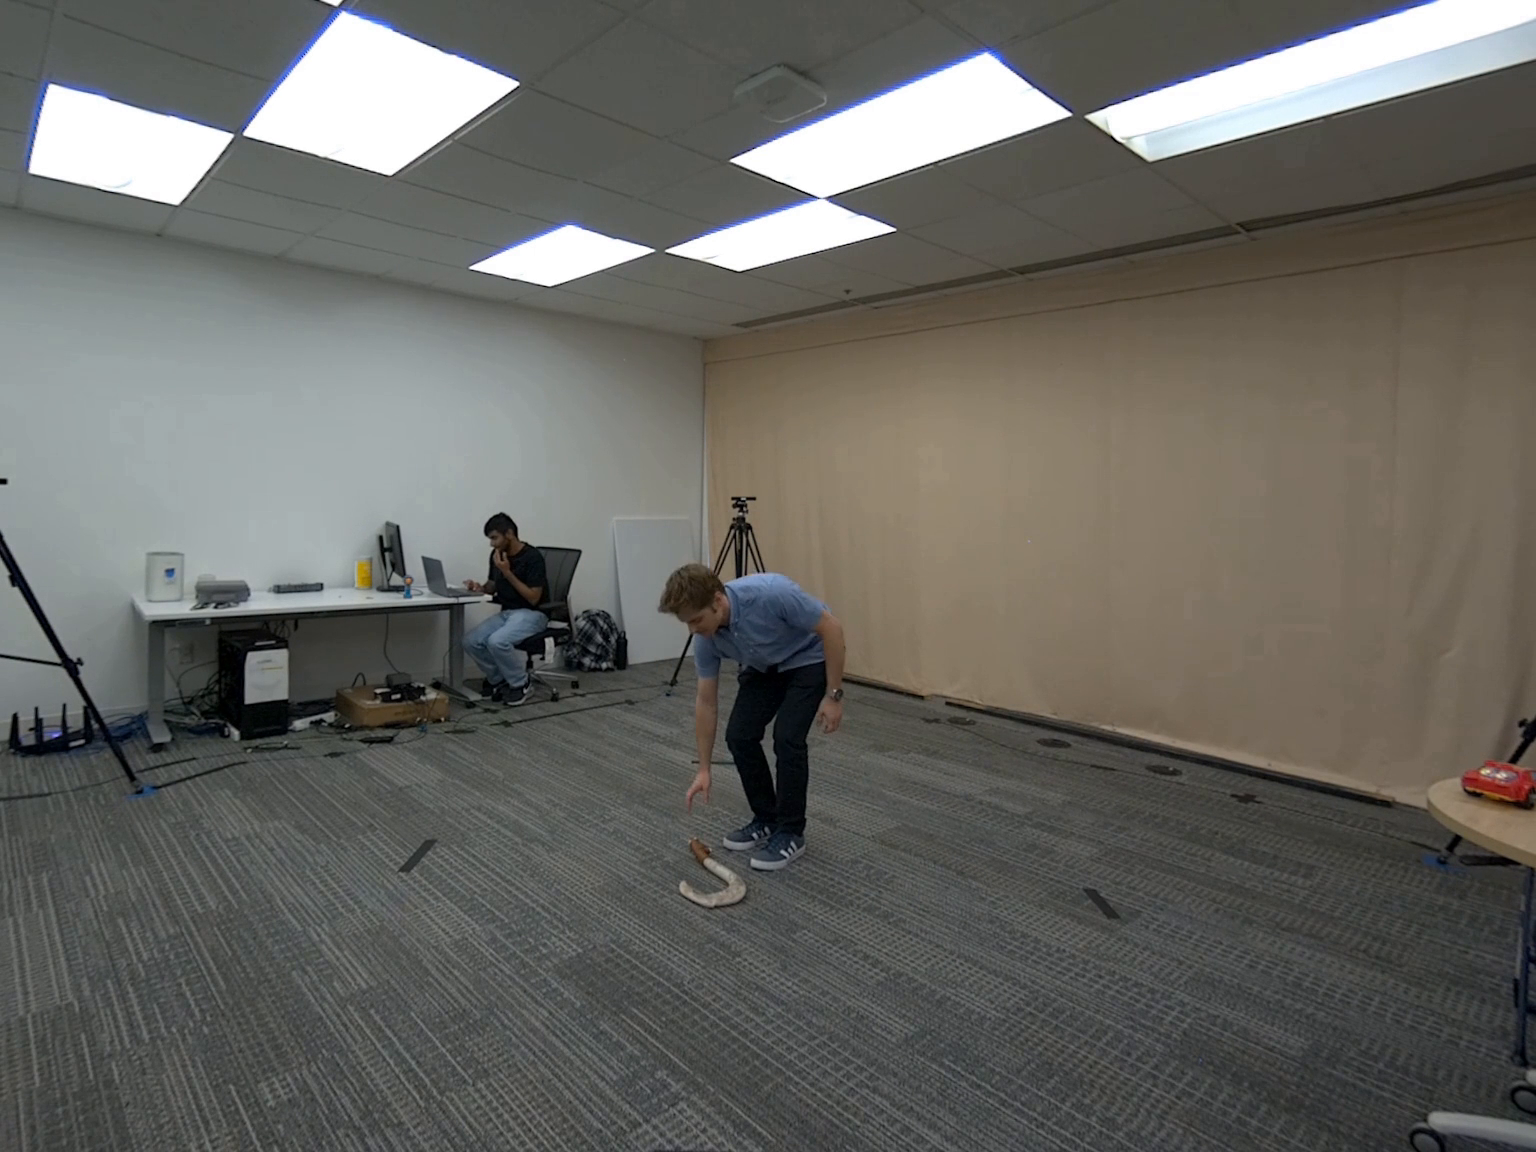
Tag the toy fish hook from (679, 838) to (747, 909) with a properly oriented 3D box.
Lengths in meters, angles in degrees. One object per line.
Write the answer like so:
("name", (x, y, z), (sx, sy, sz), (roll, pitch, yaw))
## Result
("toy fish hook", (-0.253, 1.083, 3.094), (0.221, 0.048, 0.516), (1, 5, -23))
